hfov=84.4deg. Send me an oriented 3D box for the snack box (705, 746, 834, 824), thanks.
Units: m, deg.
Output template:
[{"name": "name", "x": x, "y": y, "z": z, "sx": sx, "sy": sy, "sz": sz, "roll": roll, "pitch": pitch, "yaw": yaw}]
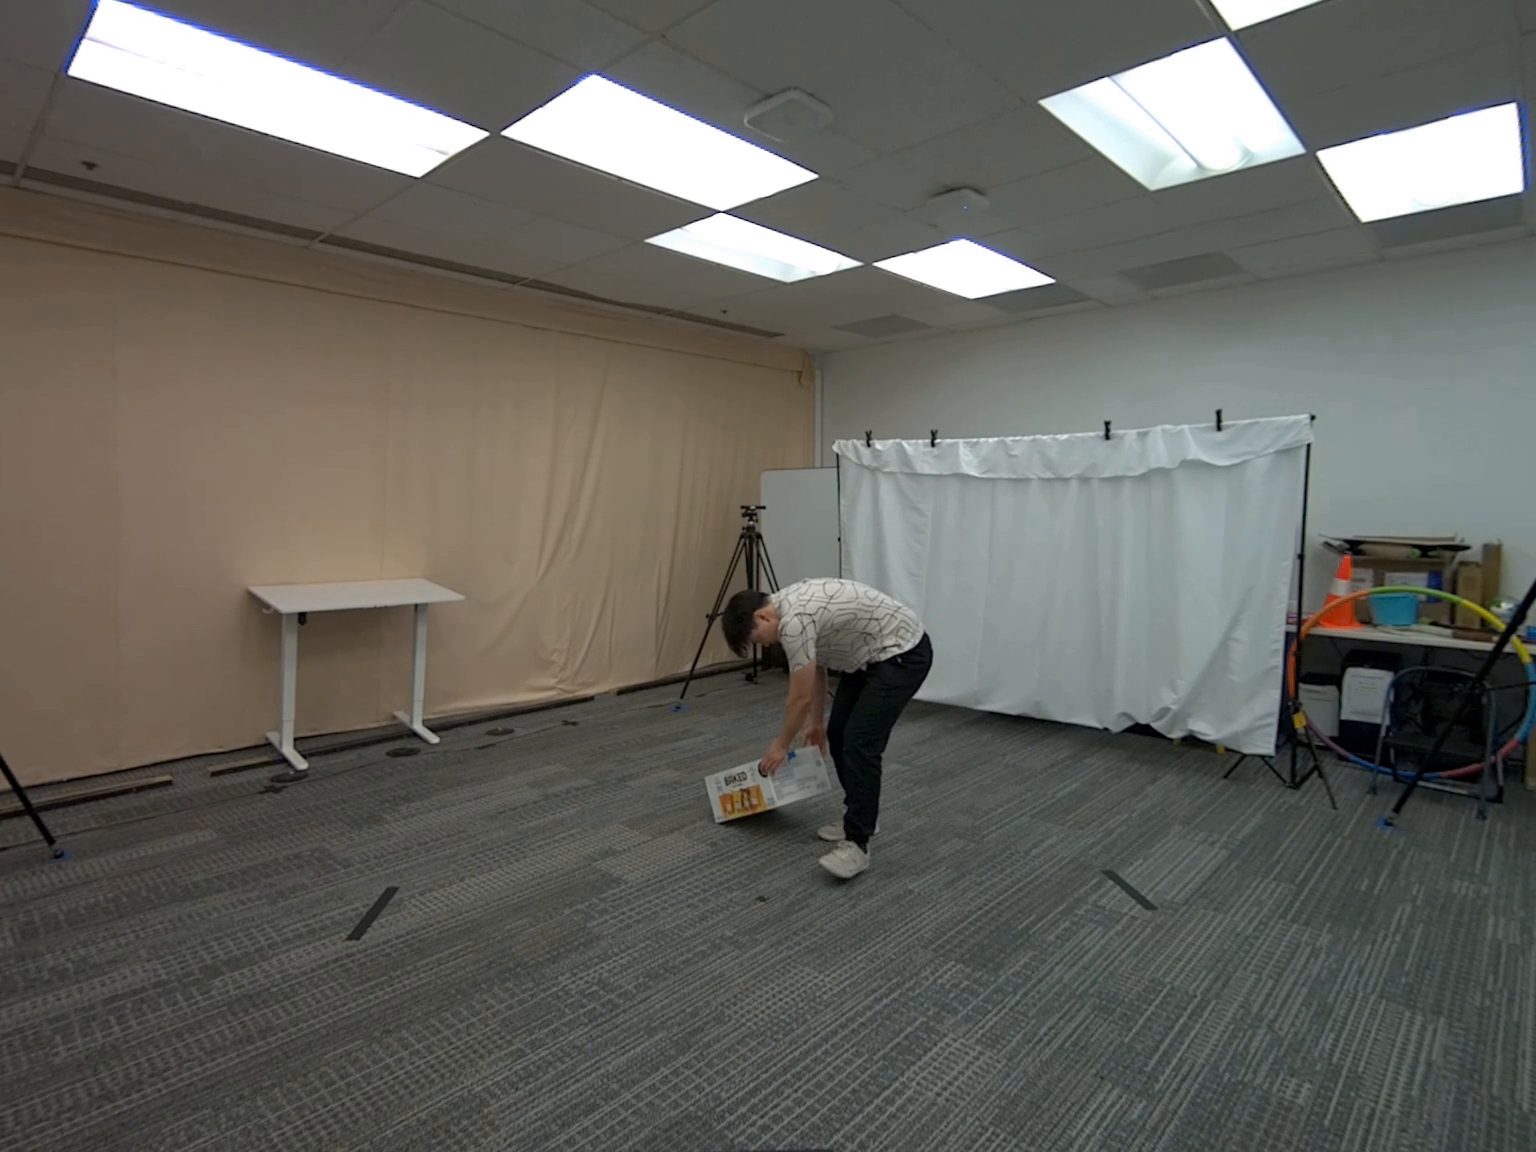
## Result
[{"name": "snack box", "x": -0.005, "y": 0.913, "z": 3.689, "sx": 0.330, "sy": 0.208, "sz": 0.412, "roll": -3, "pitch": -19, "yaw": -44}]
